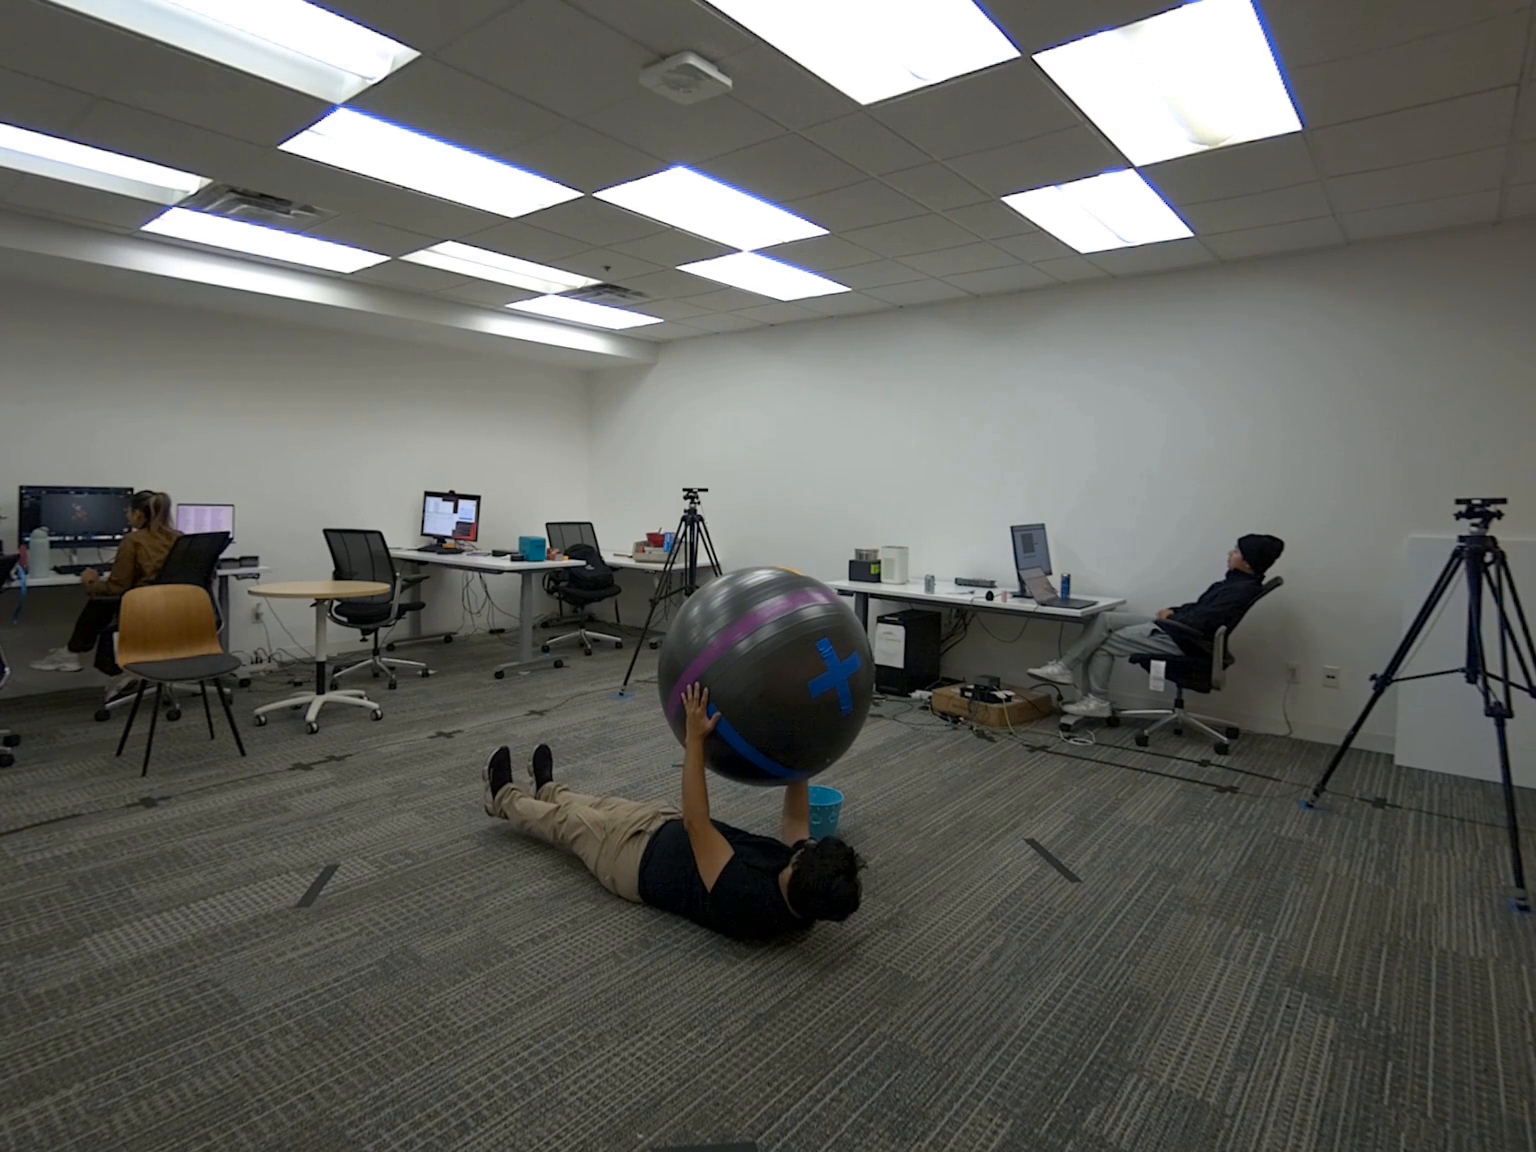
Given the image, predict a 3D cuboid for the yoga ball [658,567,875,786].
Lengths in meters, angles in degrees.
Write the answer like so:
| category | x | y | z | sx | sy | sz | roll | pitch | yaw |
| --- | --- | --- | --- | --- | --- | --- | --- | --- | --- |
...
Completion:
| category | x | y | z | sx | sy | sz | roll | pitch | yaw |
| --- | --- | --- | --- | --- | --- | --- | --- | --- | --- |
| yoga ball | -0.017 | 0.346 | 2.988 | 0.757 | 0.756 | 0.761 | 0 | 4 | -2 |
